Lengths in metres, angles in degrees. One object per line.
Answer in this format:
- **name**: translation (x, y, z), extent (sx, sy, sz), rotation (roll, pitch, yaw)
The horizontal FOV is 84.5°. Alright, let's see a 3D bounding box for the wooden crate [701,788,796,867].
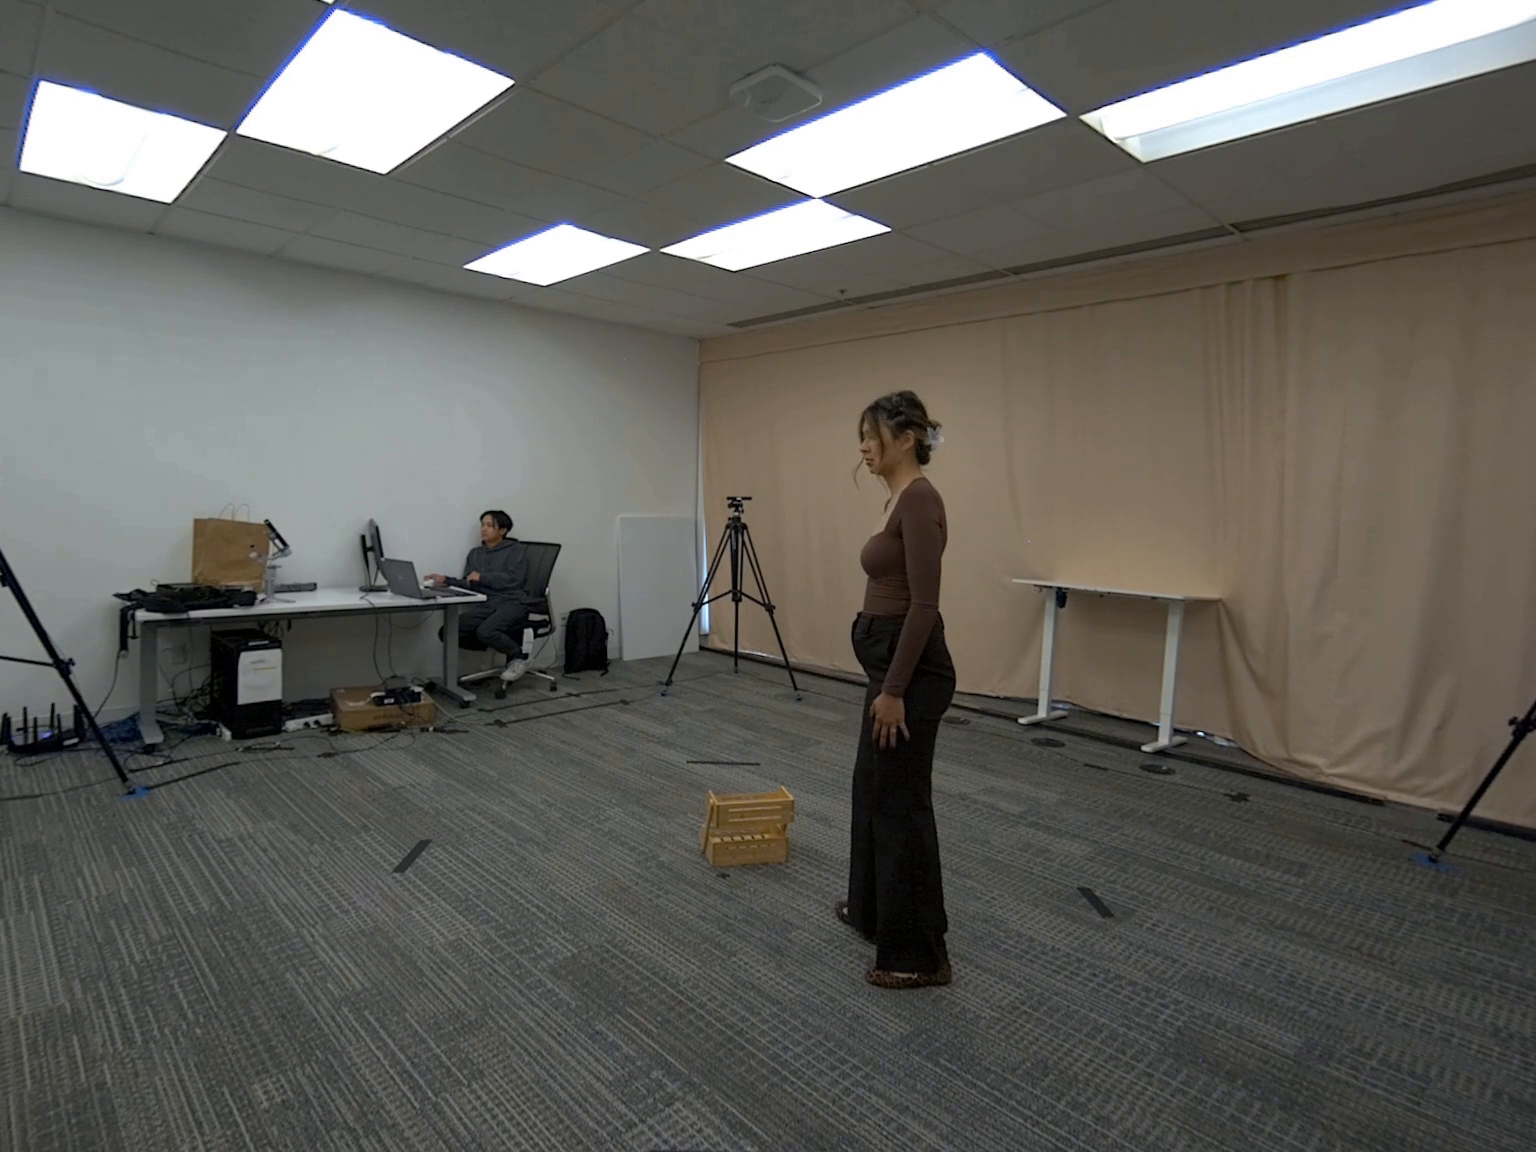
- **wooden crate**: translation (-0.097, 0.955, 3.300), extent (0.320, 0.272, 0.306), rotation (0, 4, -16)
